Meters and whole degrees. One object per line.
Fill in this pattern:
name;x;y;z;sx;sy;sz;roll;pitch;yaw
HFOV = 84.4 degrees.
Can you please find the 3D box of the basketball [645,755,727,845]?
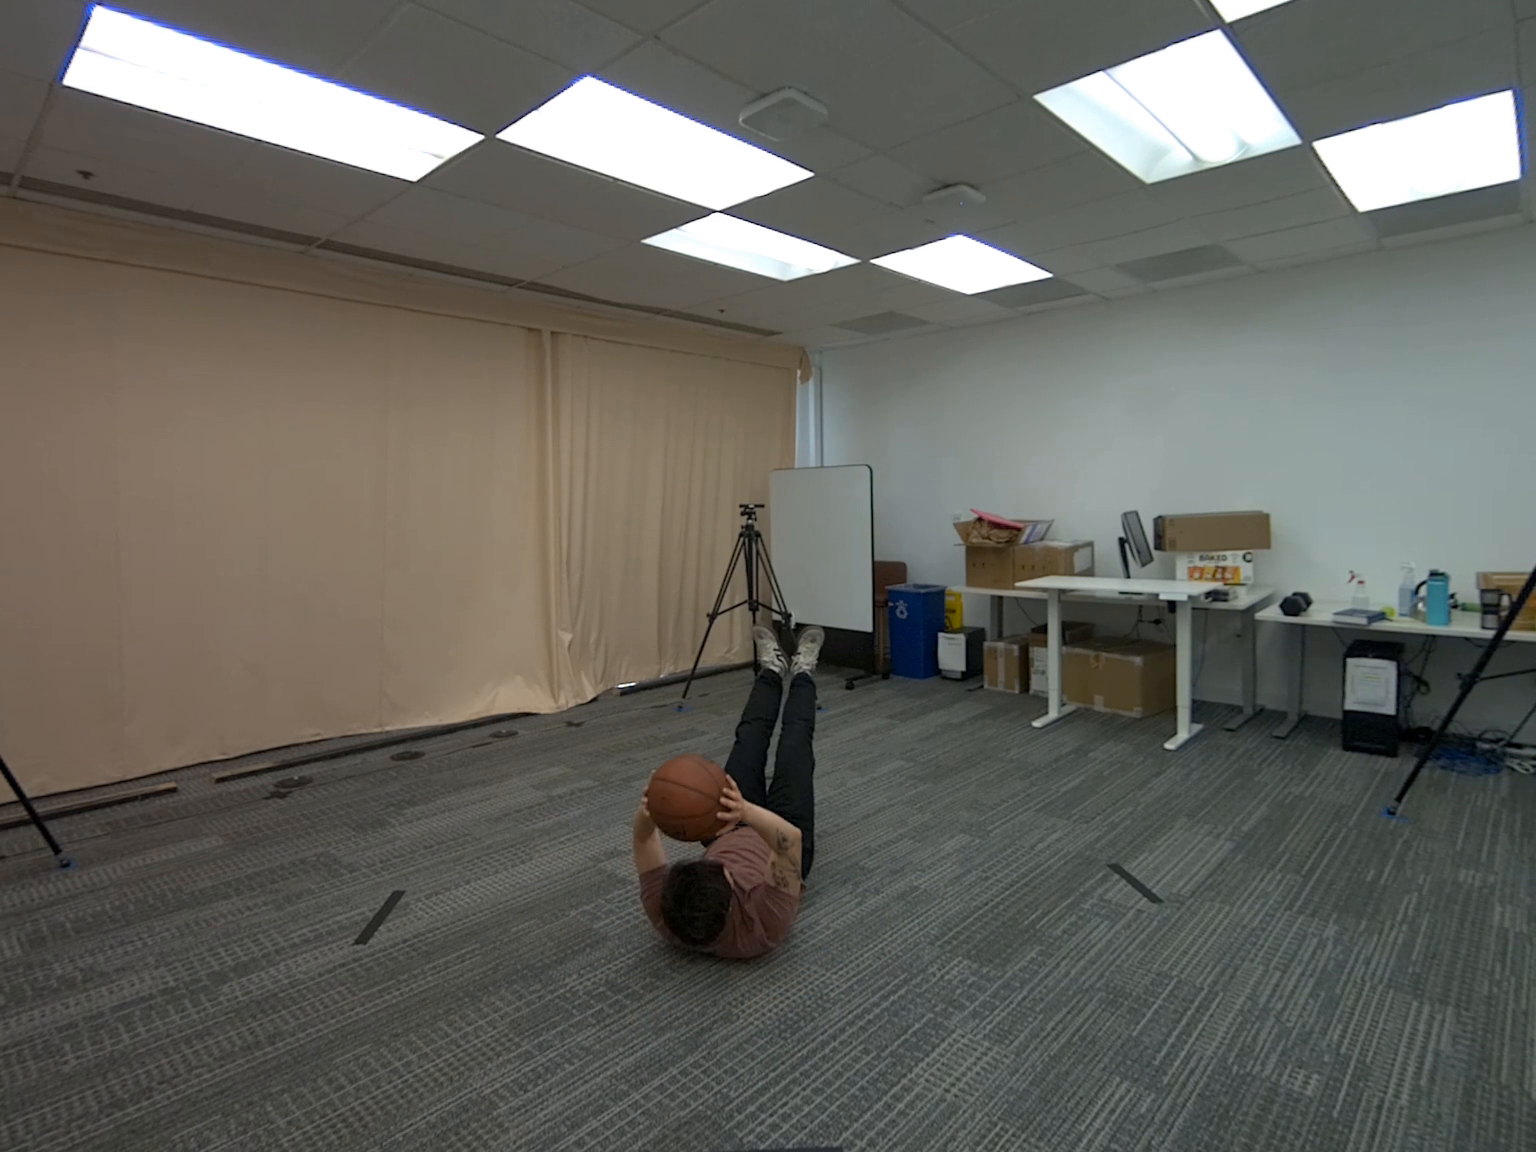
basketball;-0.210;0.616;2.327;0.235;0.235;0.237;3;5;-2
